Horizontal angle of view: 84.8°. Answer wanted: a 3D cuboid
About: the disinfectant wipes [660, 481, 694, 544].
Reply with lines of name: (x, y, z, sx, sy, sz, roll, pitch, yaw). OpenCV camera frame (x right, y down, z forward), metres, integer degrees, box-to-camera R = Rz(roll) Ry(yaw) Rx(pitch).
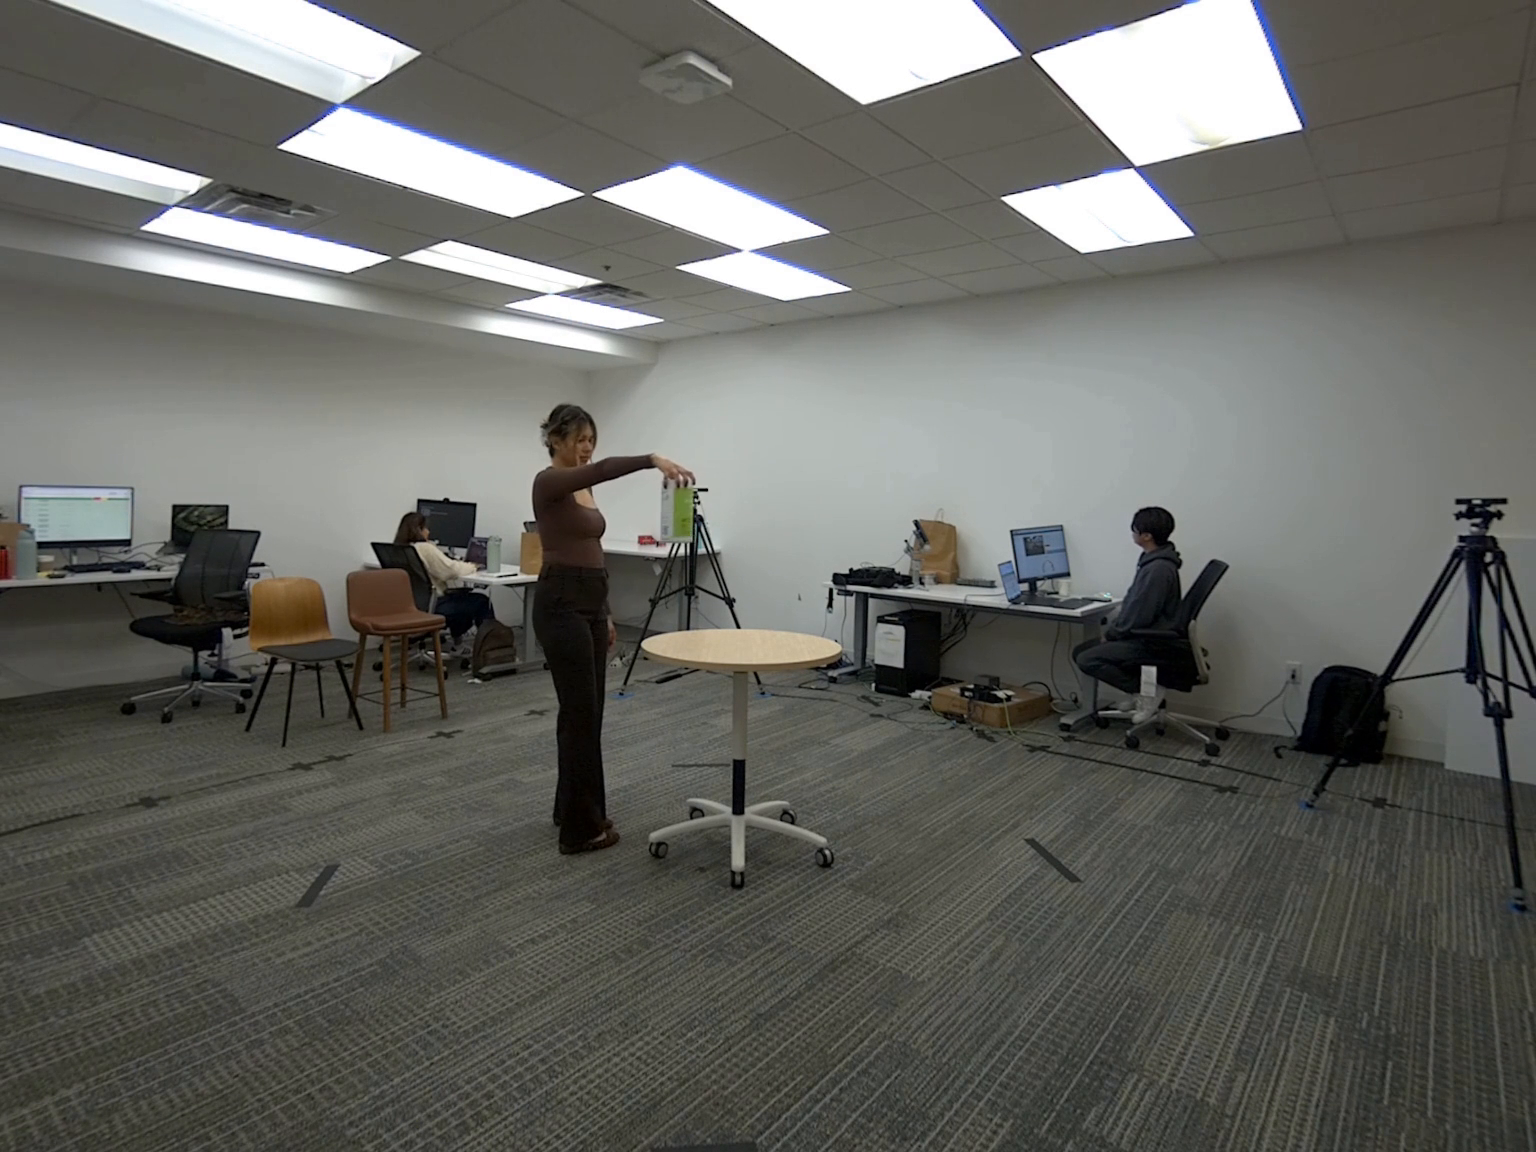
disinfectant wipes: (-0.322, -0.224, 2.918, 0.118, 0.217, 0.118, 0, 2, -2)
